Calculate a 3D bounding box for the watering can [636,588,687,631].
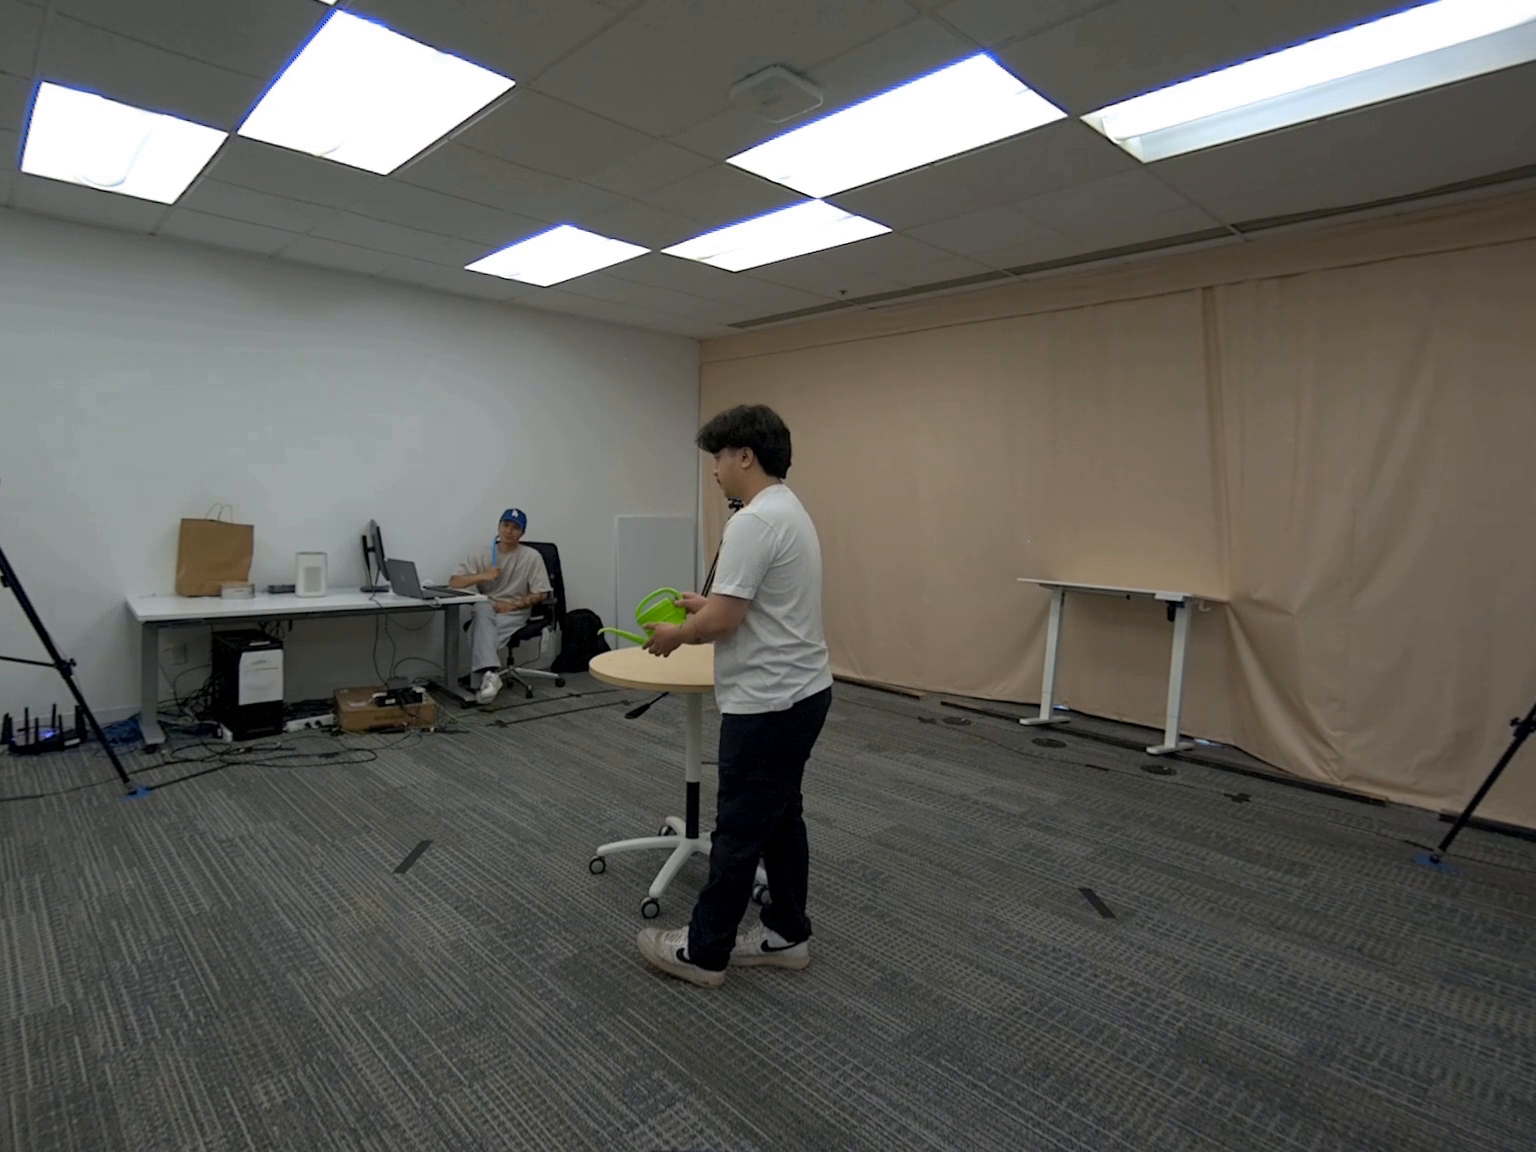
[{"bbox_3d":[-0.371,0.165,2.636,0.279,0.178,0.097,-34,-6,16],"label":"watering can"}]
